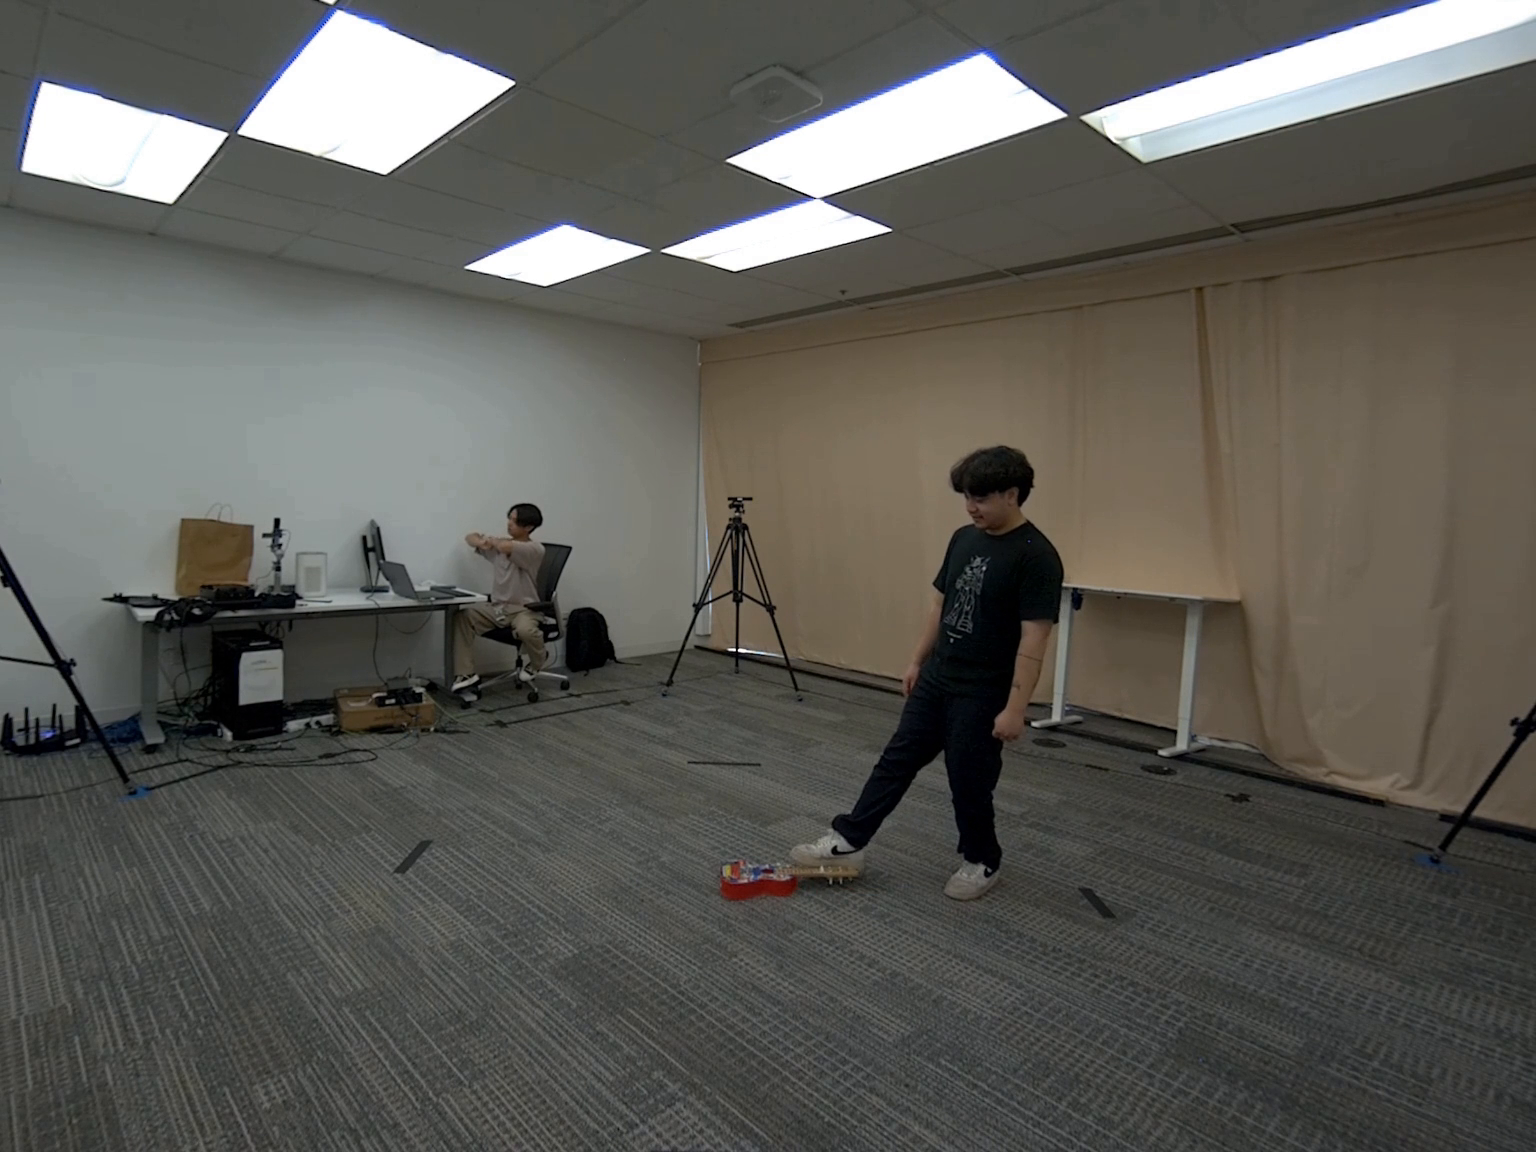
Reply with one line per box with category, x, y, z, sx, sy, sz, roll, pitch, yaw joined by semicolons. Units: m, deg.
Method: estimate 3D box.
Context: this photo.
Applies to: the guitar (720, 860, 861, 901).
guitar;0.071;1.082;2.995;0.501;0.070;0.192;1;4;7
